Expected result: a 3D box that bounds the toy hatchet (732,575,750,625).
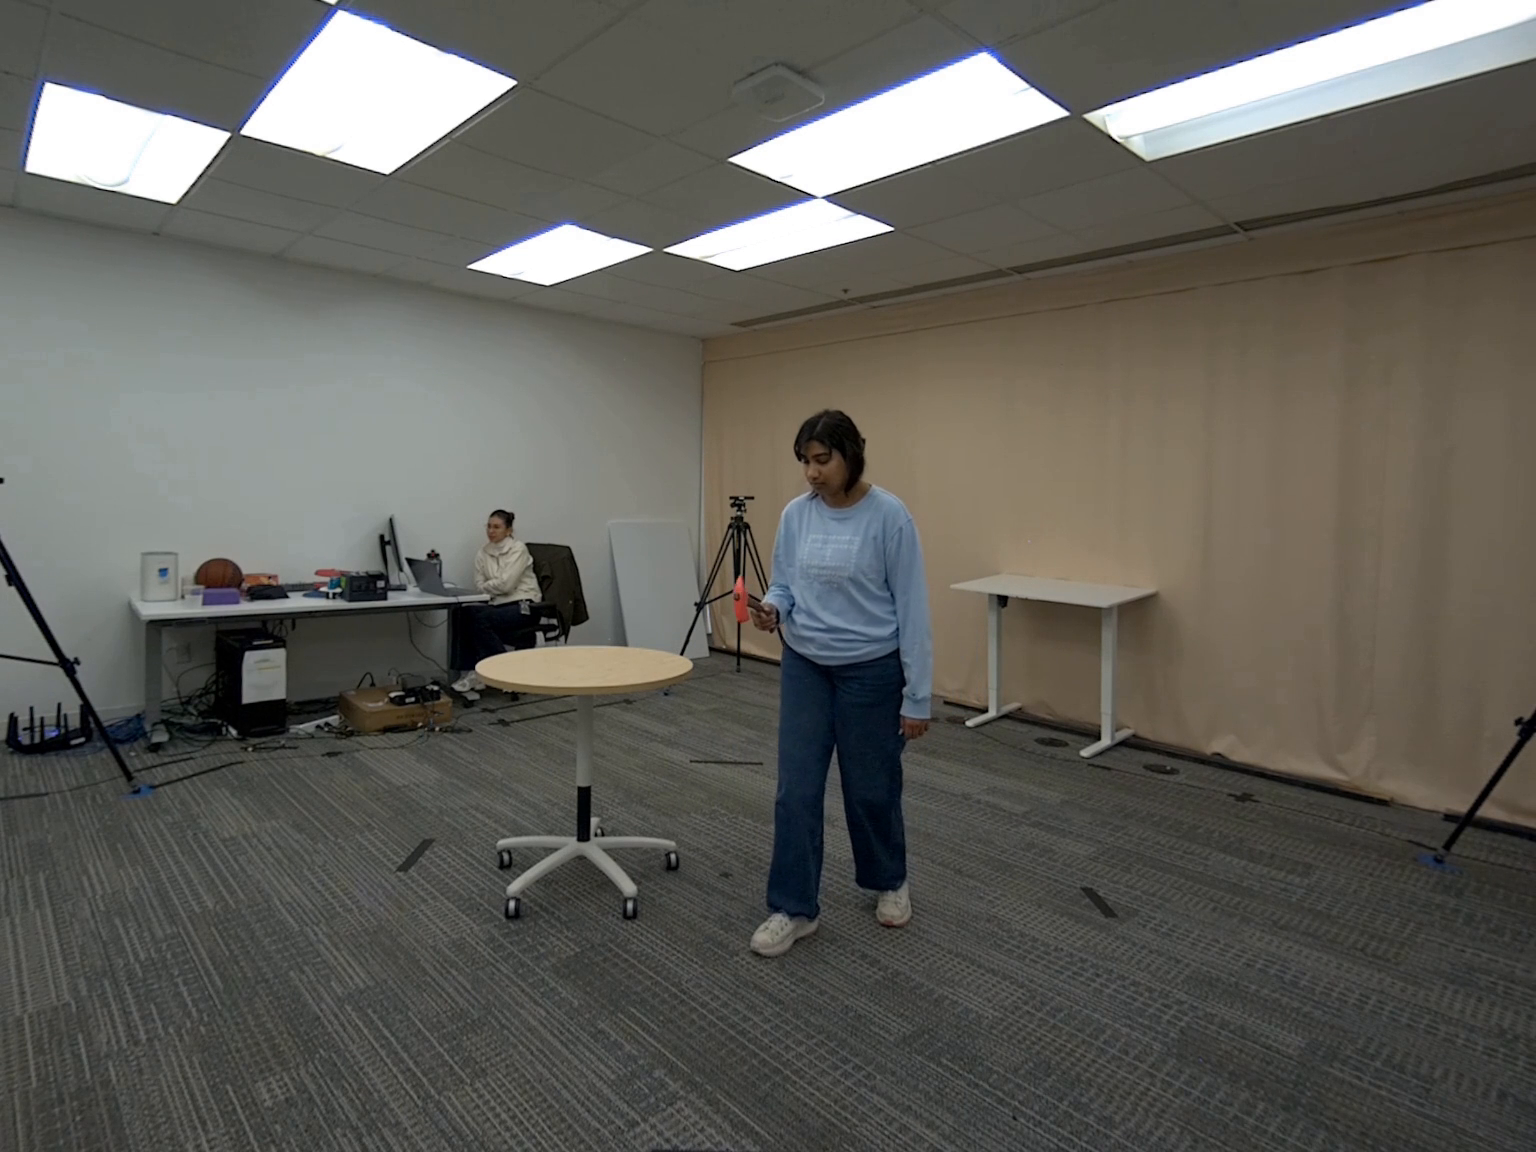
[{"bbox_3d":[-0.054,0.120,2.451,0.030,0.133,0.262,-8,-36,21],"label":"toy hatchet"}]
